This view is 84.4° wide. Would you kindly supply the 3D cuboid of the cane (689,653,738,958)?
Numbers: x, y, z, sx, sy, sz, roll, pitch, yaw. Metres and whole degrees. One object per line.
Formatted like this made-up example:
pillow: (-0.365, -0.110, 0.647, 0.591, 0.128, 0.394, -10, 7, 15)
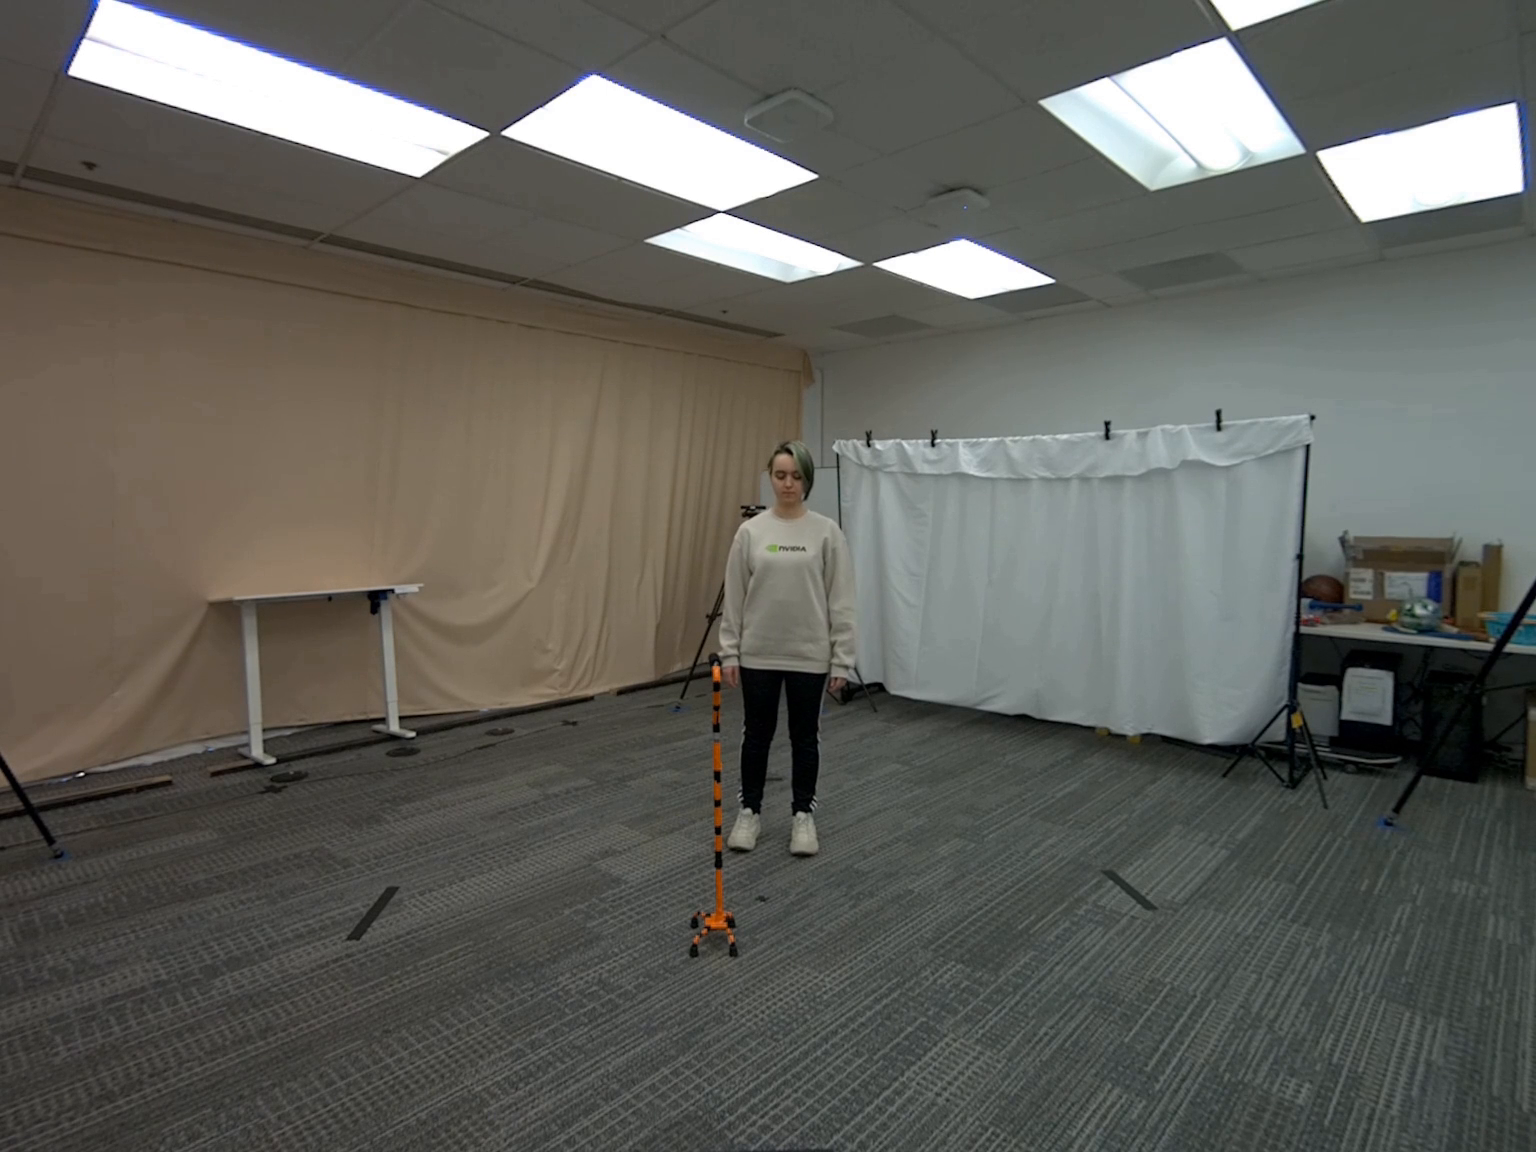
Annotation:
cane: (-0.170, 0.718, 2.669, 0.151, 0.906, 0.207, 0, 4, -3)
